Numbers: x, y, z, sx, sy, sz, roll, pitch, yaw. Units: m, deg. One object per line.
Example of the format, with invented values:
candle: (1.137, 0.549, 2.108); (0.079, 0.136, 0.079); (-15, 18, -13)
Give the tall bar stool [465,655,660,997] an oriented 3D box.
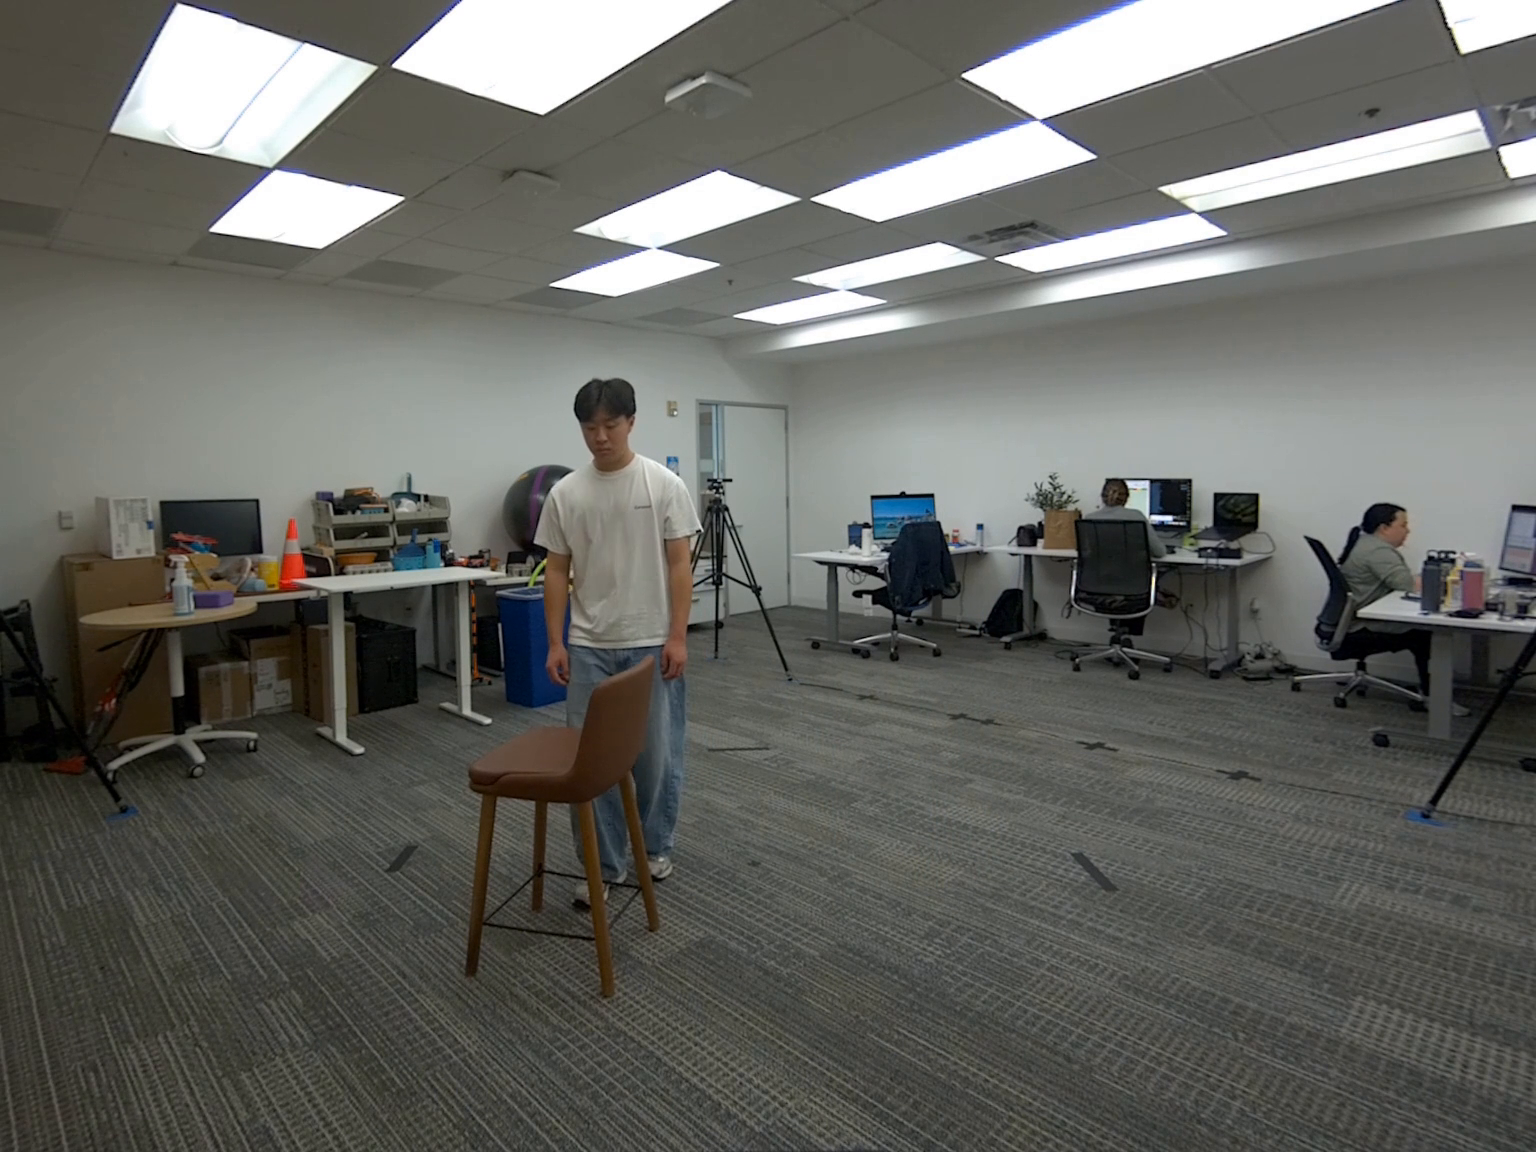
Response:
tall bar stool: (-0.605, 0.694, 2.529); (0.475, 0.885, 0.451); (2, 6, 16)
